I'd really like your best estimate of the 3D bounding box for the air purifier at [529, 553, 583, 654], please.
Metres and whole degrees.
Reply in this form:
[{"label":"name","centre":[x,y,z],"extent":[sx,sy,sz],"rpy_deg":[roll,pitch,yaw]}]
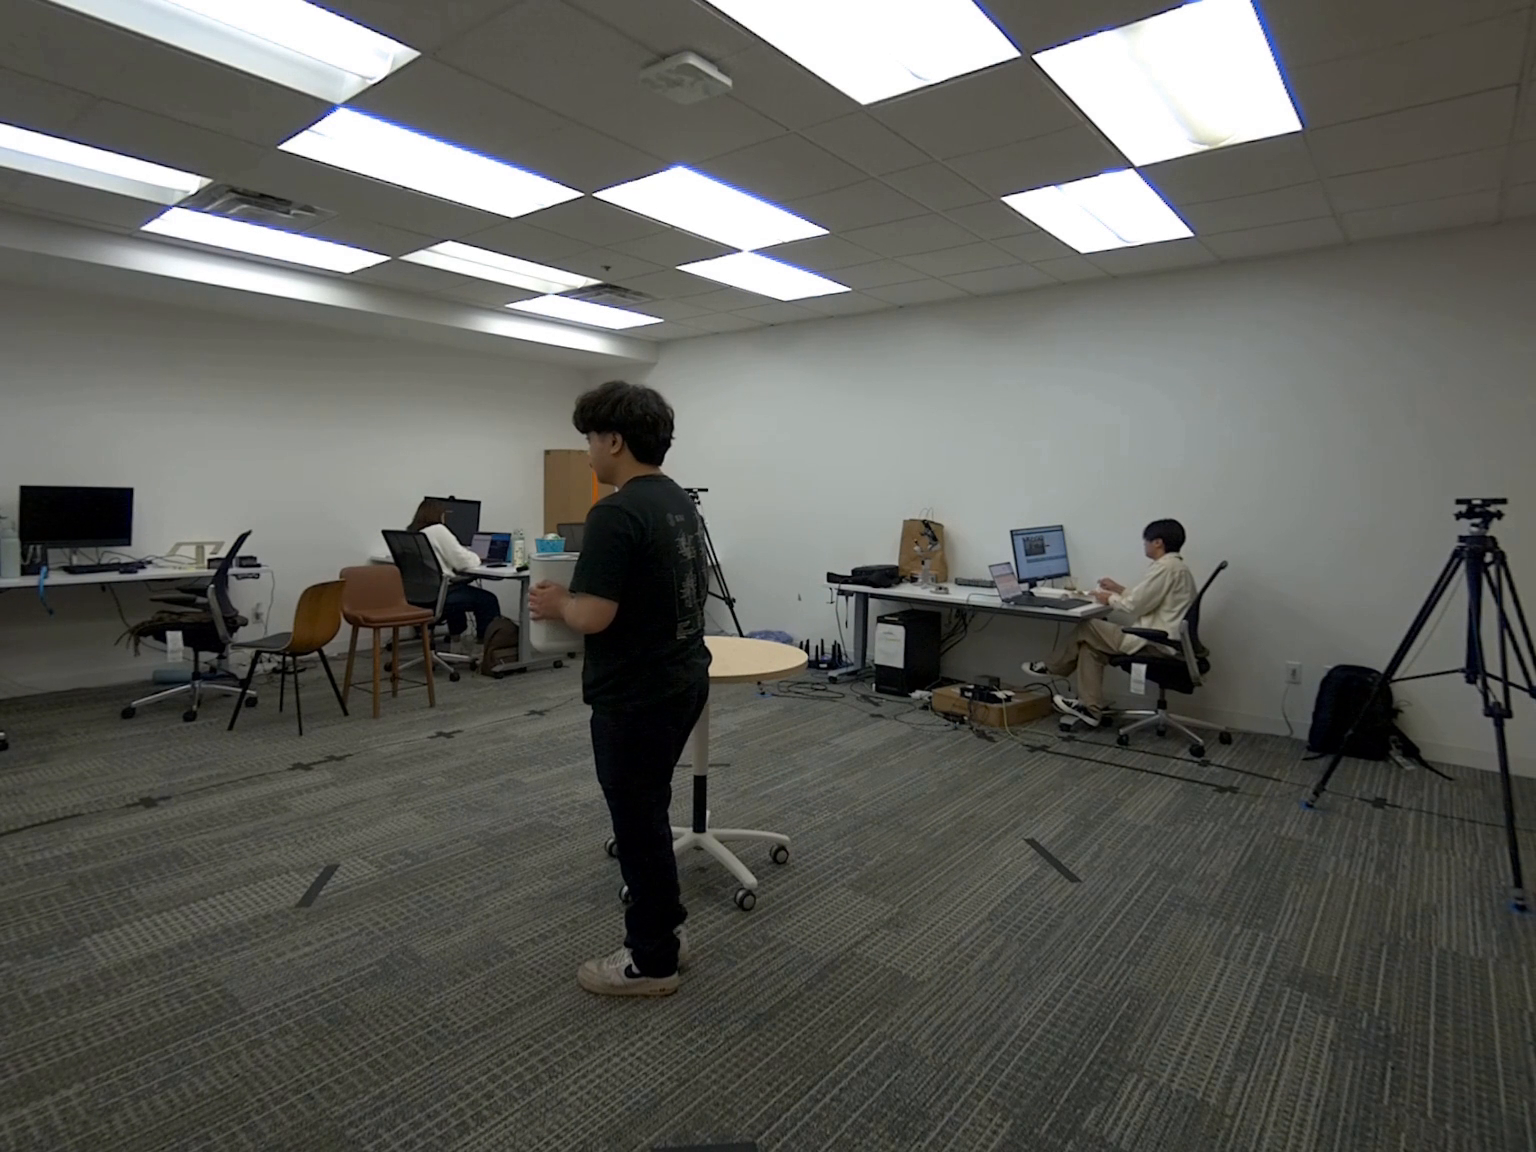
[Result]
[{"label":"air purifier","centre":[-0.599,0.075,2.422],"extent":[0.170,0.264,0.174],"rpy_deg":[0,6,-12]}]
